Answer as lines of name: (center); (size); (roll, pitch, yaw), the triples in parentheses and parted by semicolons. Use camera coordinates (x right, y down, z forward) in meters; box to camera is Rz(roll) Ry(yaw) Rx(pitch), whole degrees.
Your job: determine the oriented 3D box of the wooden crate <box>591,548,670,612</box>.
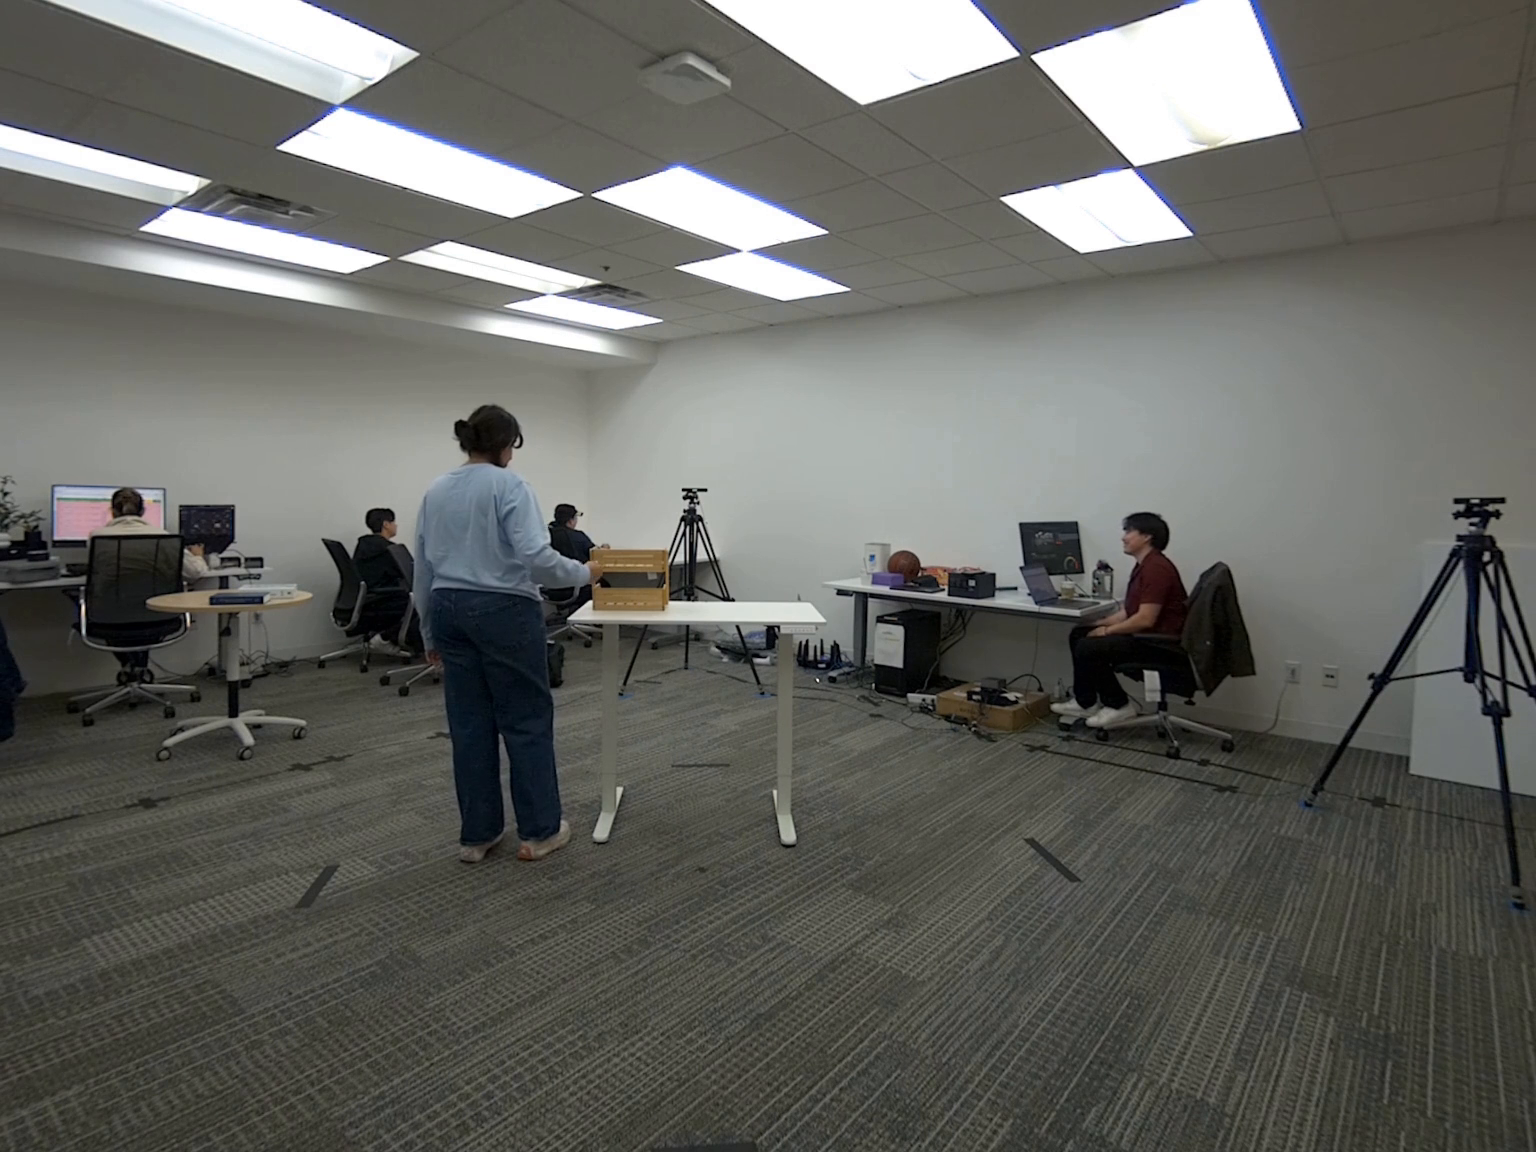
wooden crate: (-0.604, -0.002, 3.643); (0.323, 0.272, 0.305); (0, 6, -5)
